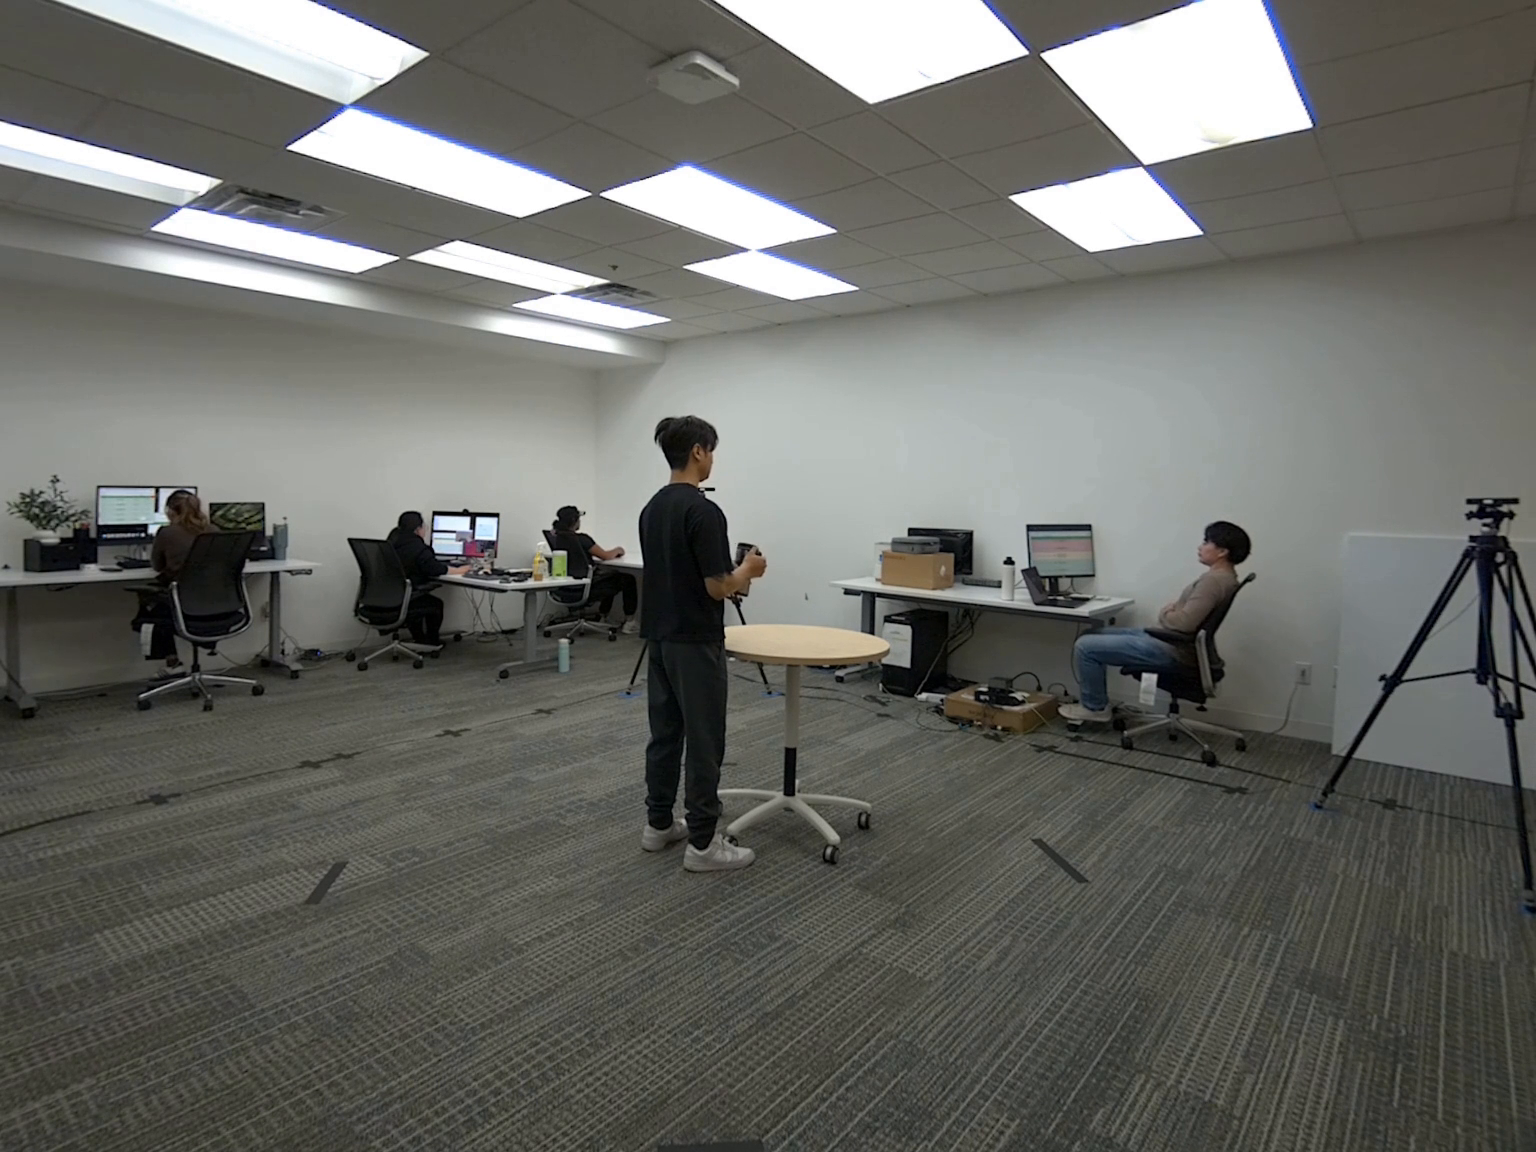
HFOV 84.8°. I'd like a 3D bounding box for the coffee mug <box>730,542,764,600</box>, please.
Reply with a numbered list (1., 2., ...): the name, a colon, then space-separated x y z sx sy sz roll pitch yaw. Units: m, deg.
1. coffee mug: -0.113 -0.022 3.329 0.126 0.202 0.085 13 4 27
